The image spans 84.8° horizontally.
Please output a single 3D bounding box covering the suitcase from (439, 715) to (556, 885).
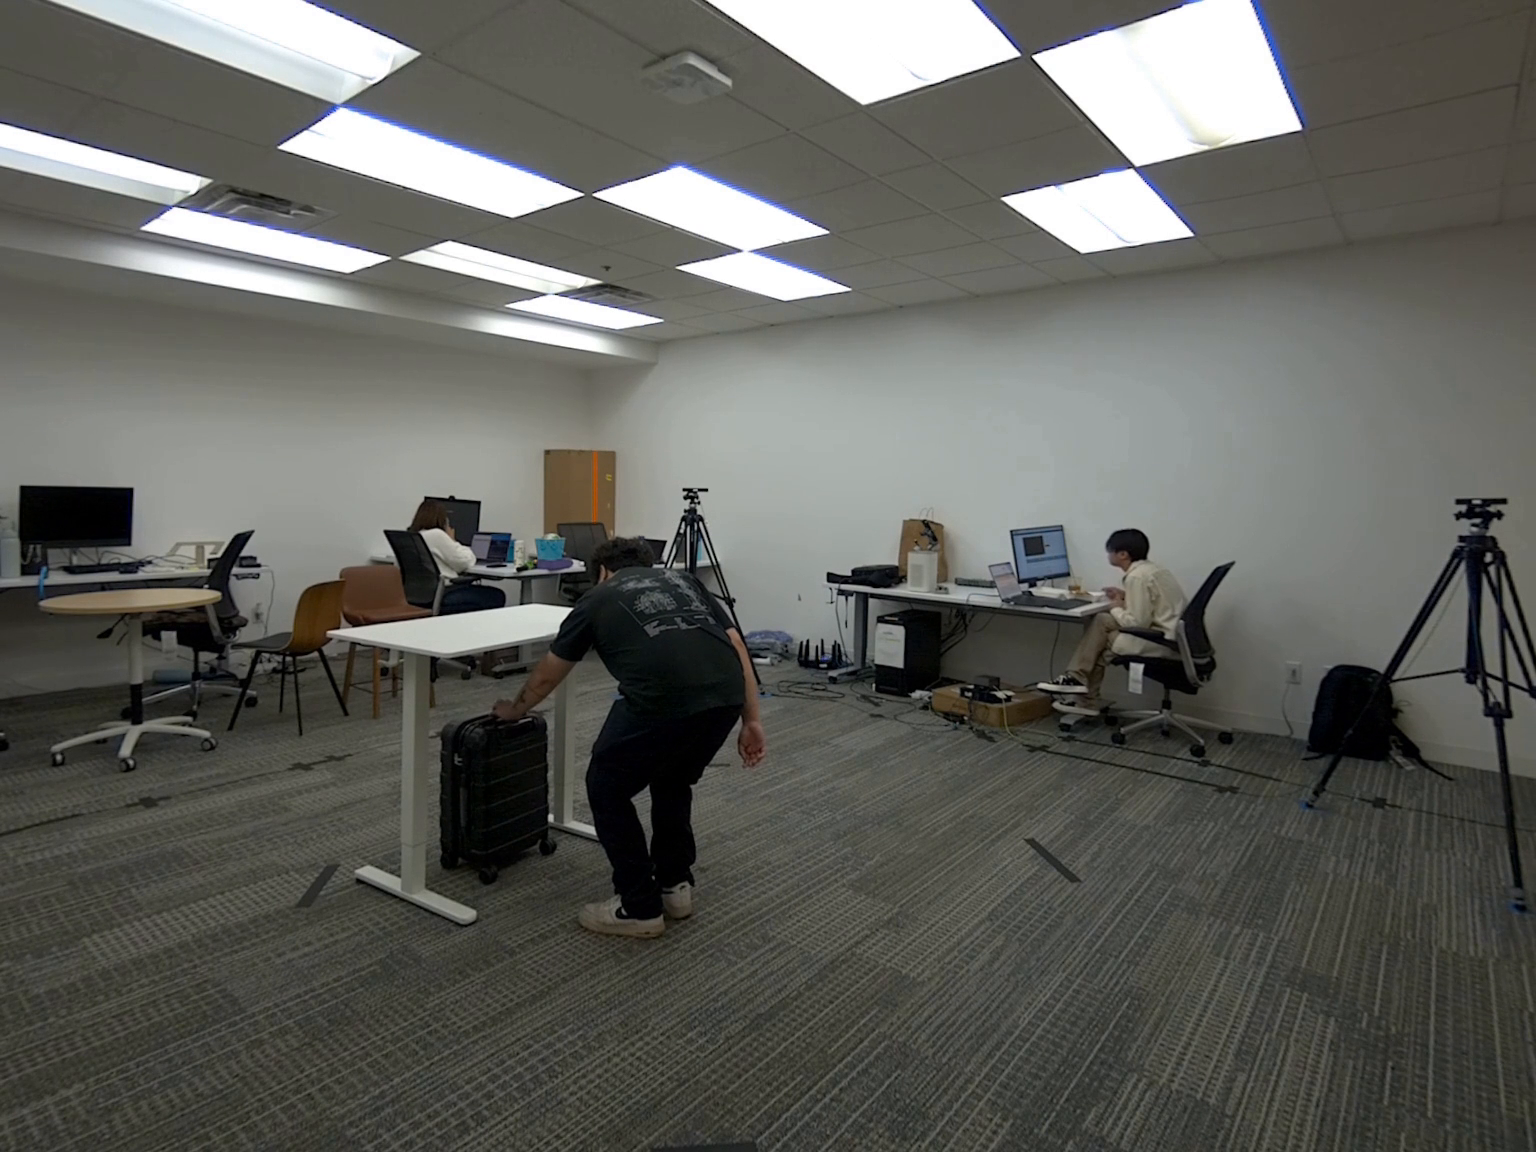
[{"bbox_3d":[-1.027,0.781,3.149,0.256,0.548,0.365,0,3,33],"label":"suitcase"}]
